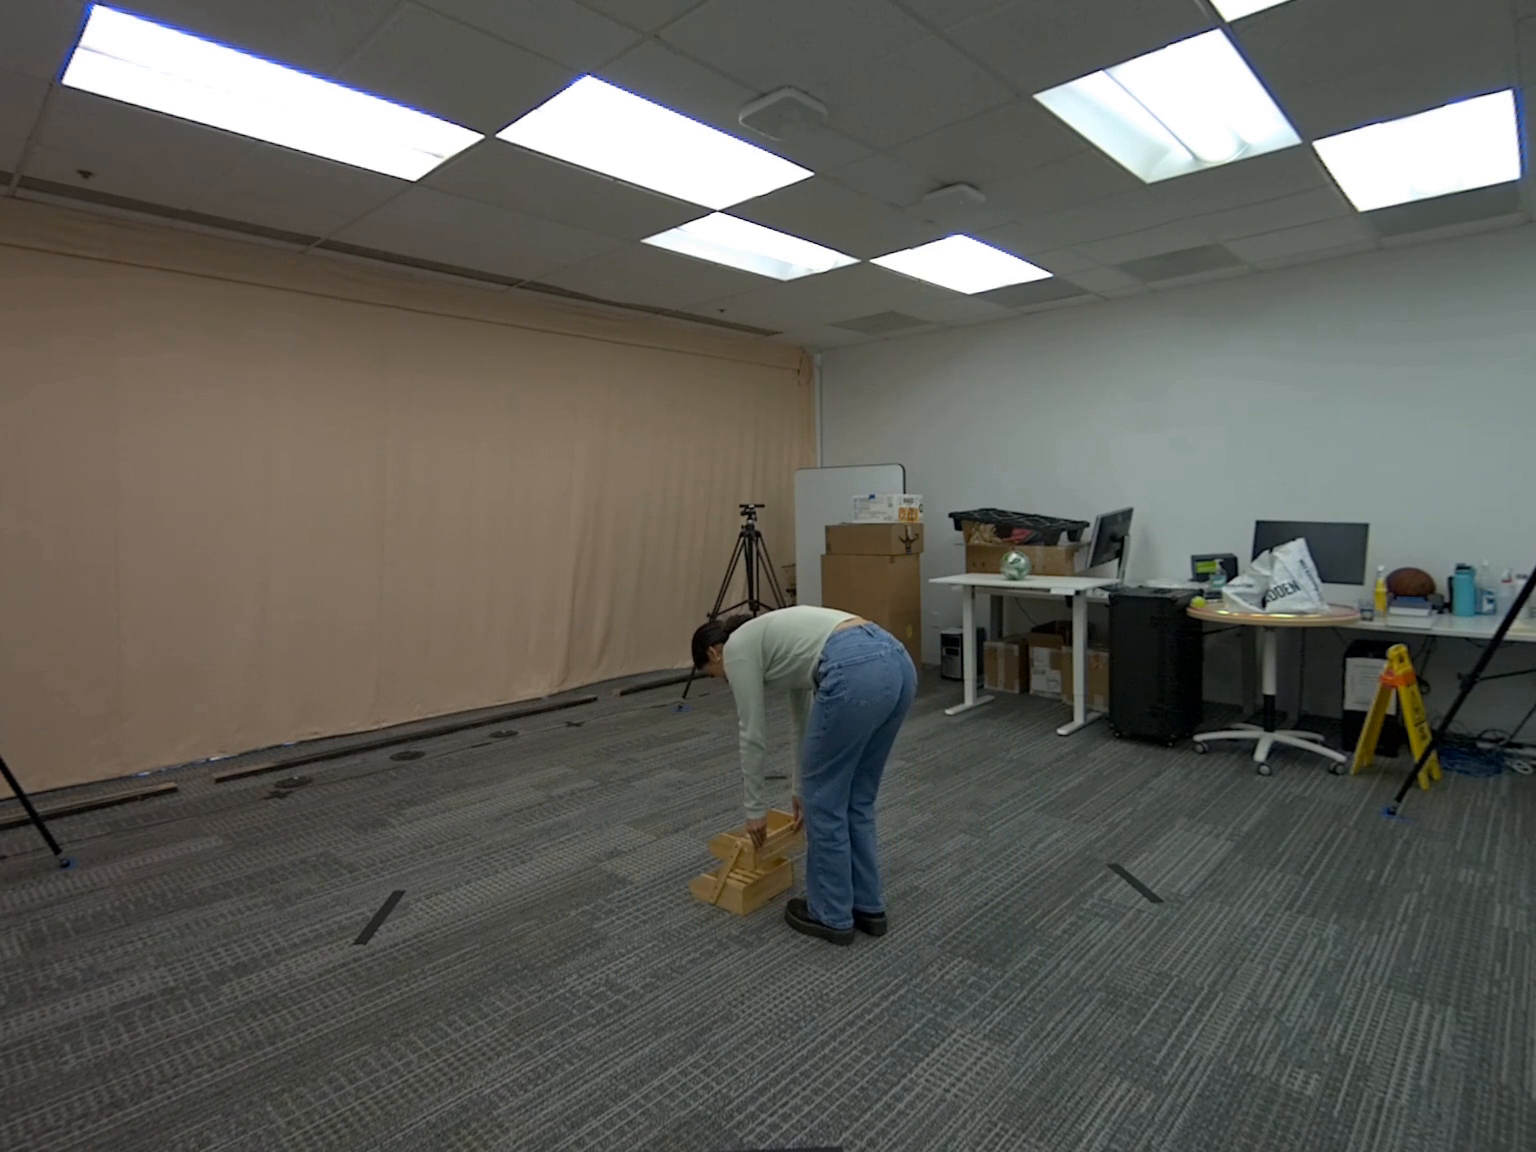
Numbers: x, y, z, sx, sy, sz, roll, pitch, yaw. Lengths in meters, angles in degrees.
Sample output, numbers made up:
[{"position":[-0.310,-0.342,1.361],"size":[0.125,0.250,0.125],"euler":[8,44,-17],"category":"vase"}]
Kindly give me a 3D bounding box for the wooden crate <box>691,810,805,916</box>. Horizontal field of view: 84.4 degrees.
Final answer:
[{"position":[-0.075,1.003,3.022],"size":[0.312,0.272,0.315],"euler":[3,6,38],"category":"wooden crate"}]
